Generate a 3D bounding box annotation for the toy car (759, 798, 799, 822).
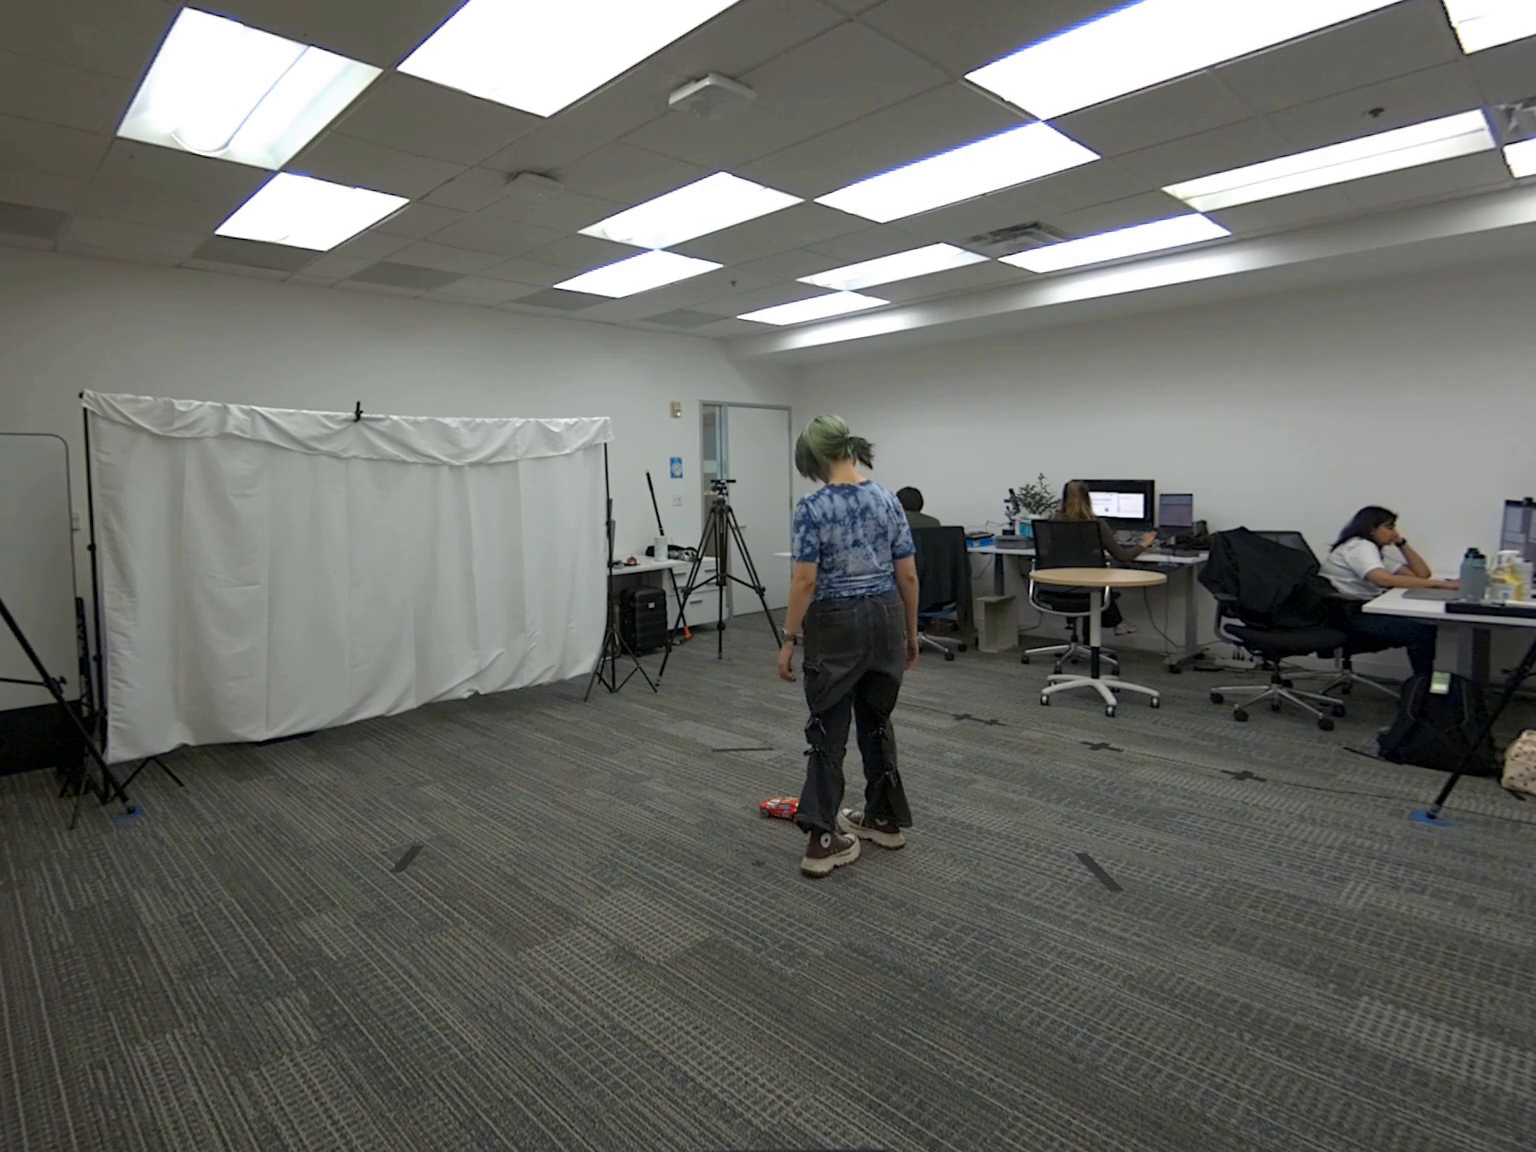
[{"bbox_3d":[0.095,0.969,3.534,0.260,0.083,0.128,-9,1,27],"label":"toy car"}]
